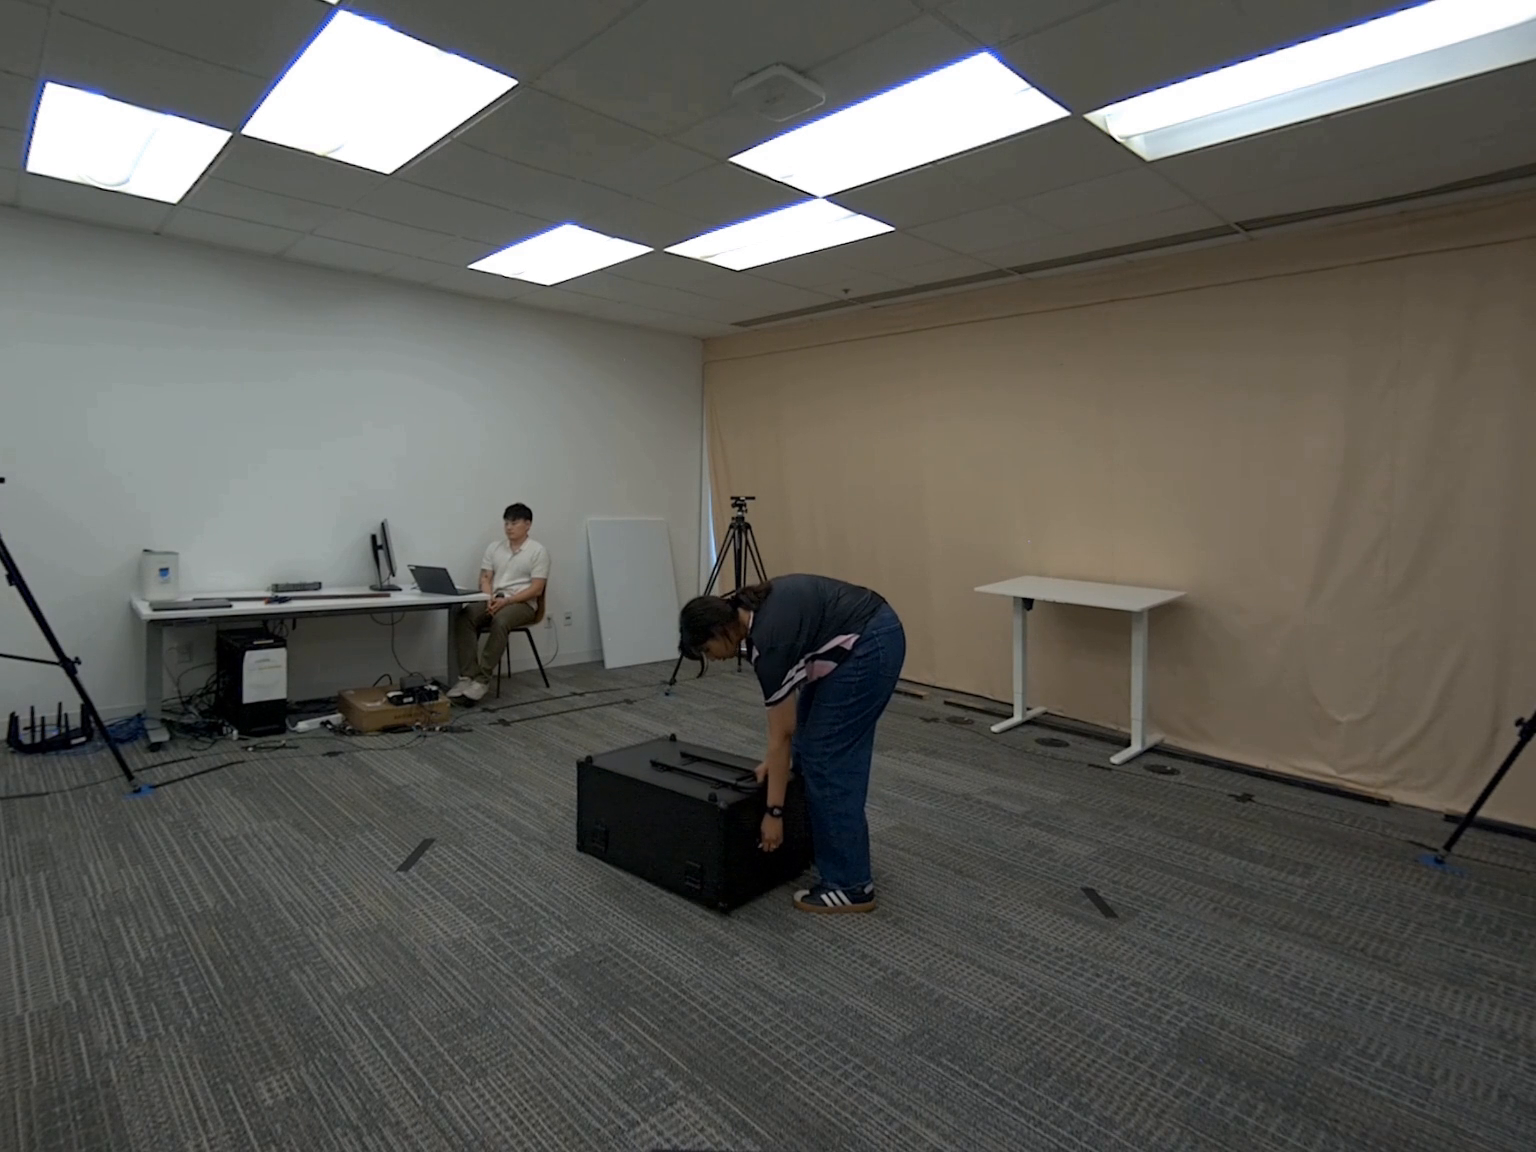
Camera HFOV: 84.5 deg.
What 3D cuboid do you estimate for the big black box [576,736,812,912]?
[{"bbox_3d":[-0.336,0.898,3.219,0.890,0.384,0.512,3,6,41],"label":"big black box"}]
